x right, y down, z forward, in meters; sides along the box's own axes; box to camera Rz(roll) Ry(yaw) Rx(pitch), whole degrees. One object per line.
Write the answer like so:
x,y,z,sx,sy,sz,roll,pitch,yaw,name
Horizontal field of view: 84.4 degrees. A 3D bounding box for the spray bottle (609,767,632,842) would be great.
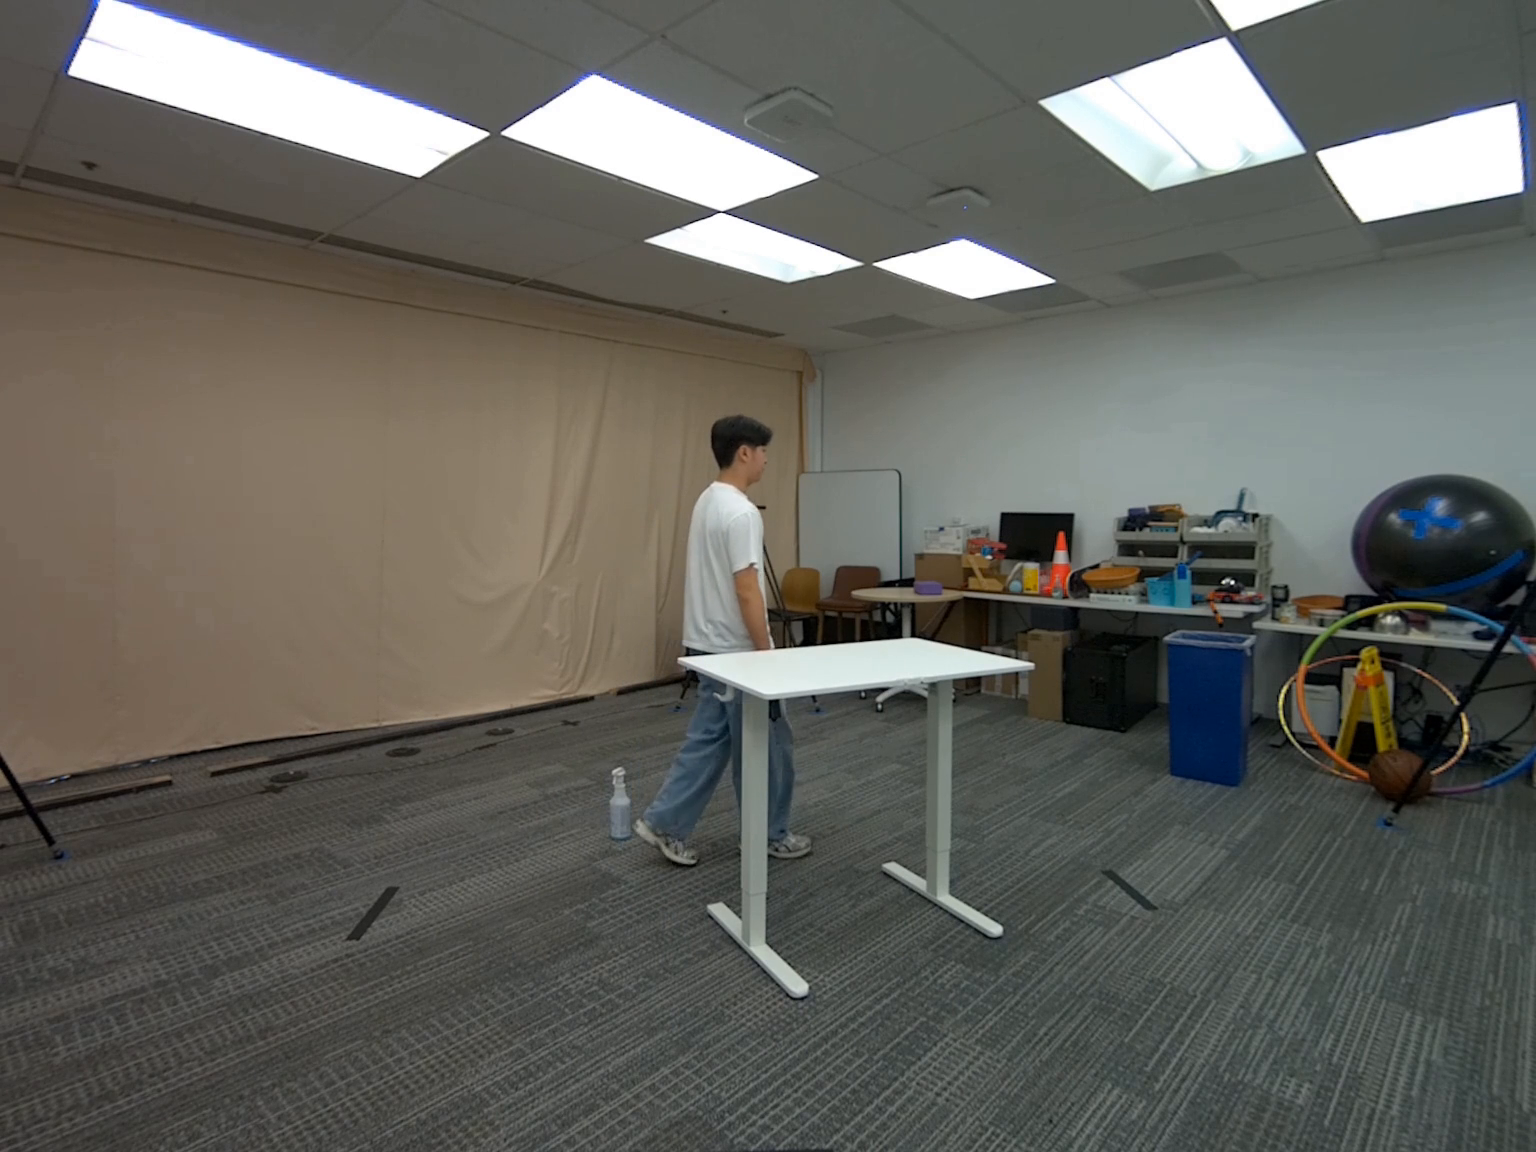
-0.627,0.960,3.550,0.087,0.296,0.090,-5,5,-40,spray bottle
